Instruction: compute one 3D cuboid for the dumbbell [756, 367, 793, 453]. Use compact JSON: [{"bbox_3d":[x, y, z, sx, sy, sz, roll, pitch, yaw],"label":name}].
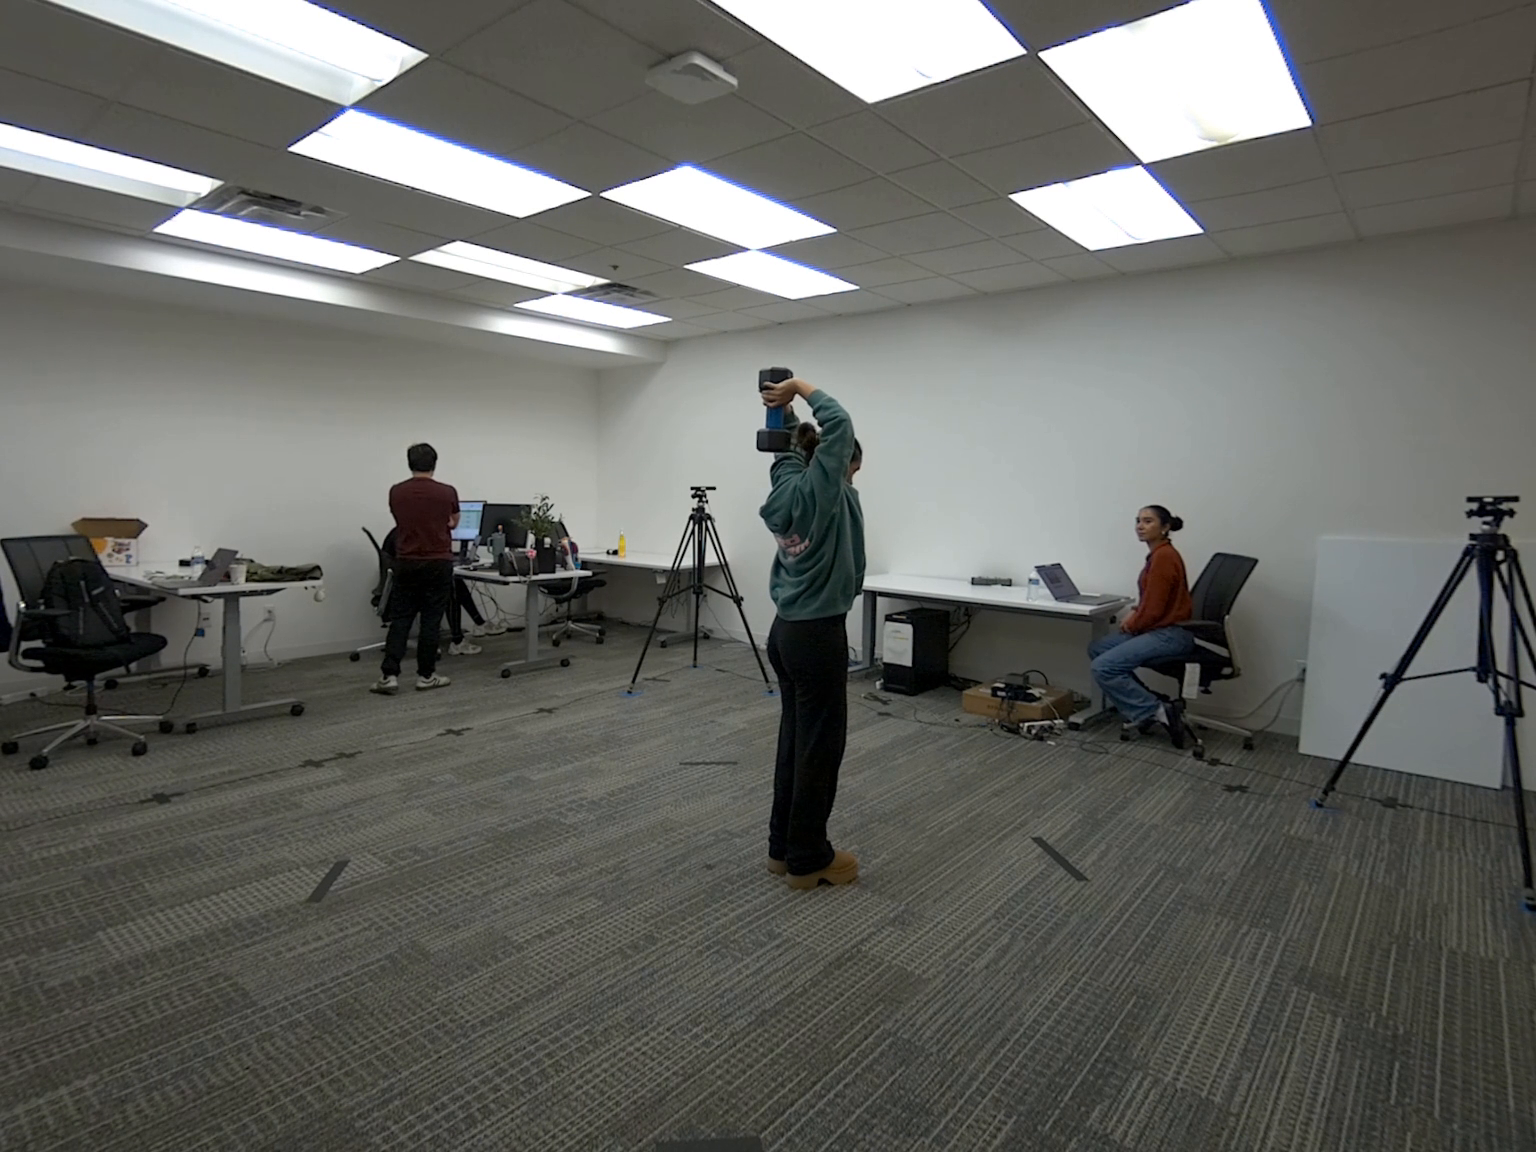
[{"bbox_3d":[0.021,-0.587,2.995,0.121,0.293,0.111,3,2,-17],"label":"dumbbell"}]
